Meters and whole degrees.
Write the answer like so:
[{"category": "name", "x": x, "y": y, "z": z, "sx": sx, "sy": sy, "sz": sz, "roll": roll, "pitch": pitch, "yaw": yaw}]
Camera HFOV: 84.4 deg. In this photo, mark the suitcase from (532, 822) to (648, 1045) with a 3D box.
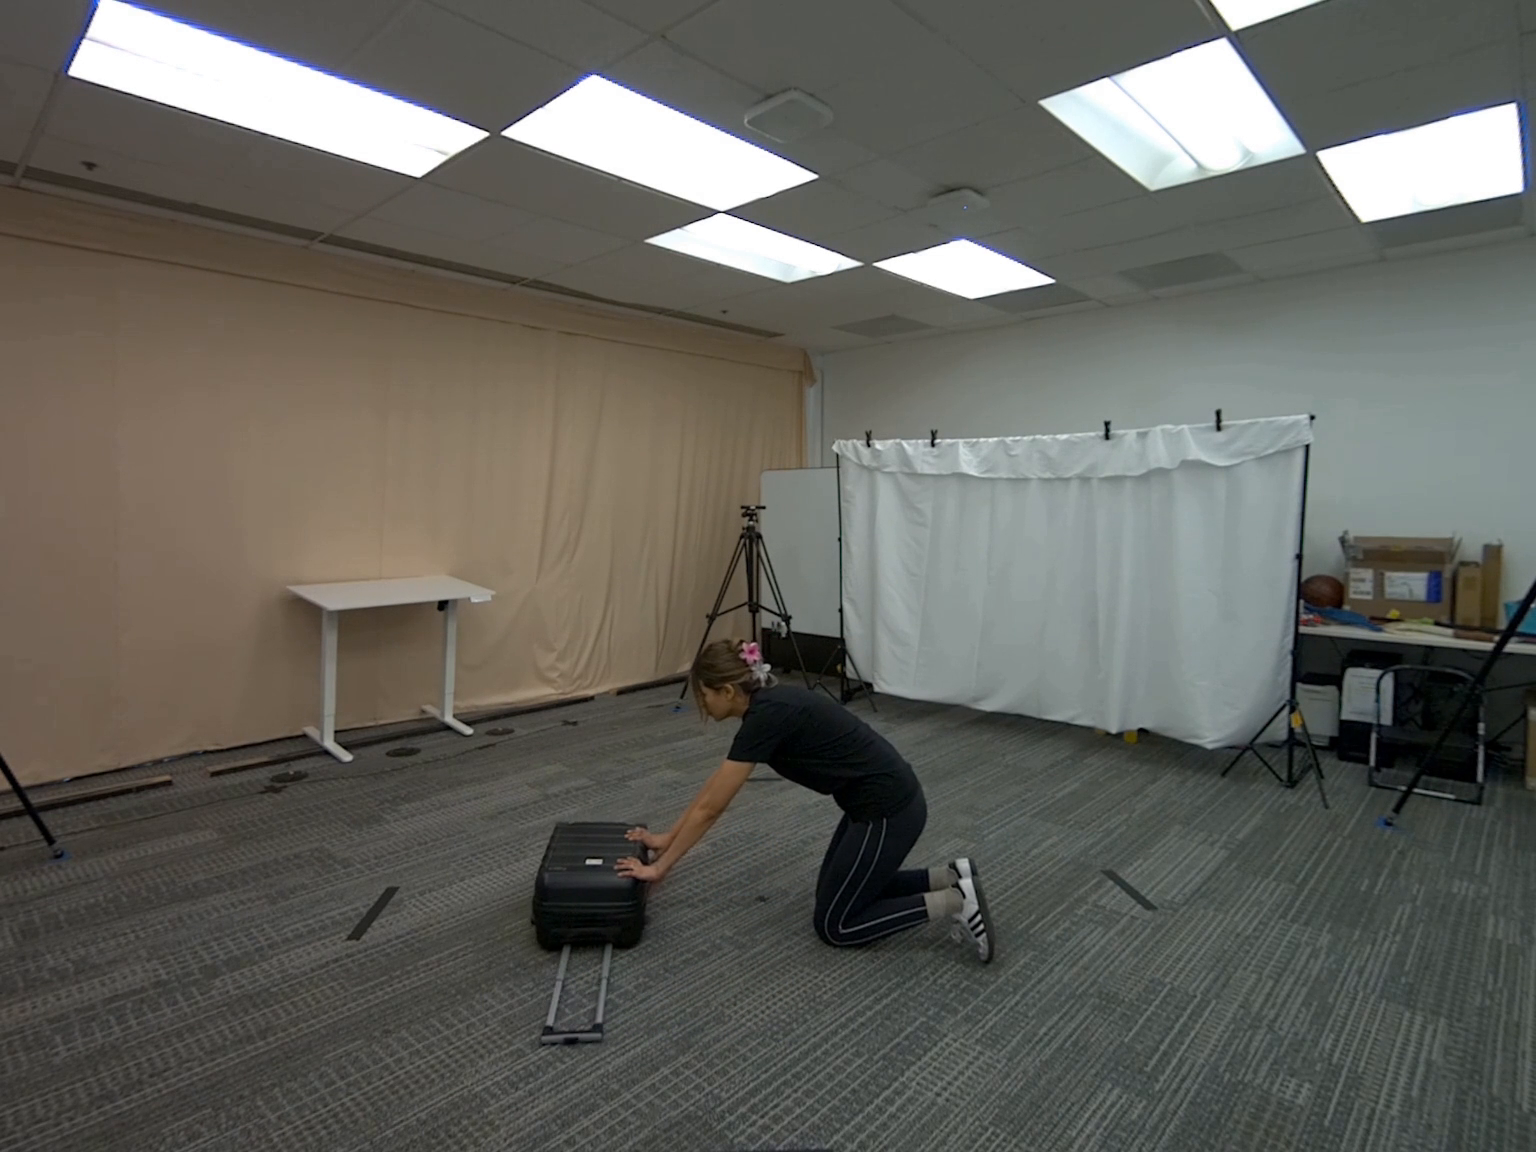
[{"category": "suitcase", "x": -0.569, "y": 1.053, "z": 2.669, "sx": 0.382, "sy": 0.257, "sz": 0.984, "roll": 1, "pitch": 3, "yaw": -5}]
